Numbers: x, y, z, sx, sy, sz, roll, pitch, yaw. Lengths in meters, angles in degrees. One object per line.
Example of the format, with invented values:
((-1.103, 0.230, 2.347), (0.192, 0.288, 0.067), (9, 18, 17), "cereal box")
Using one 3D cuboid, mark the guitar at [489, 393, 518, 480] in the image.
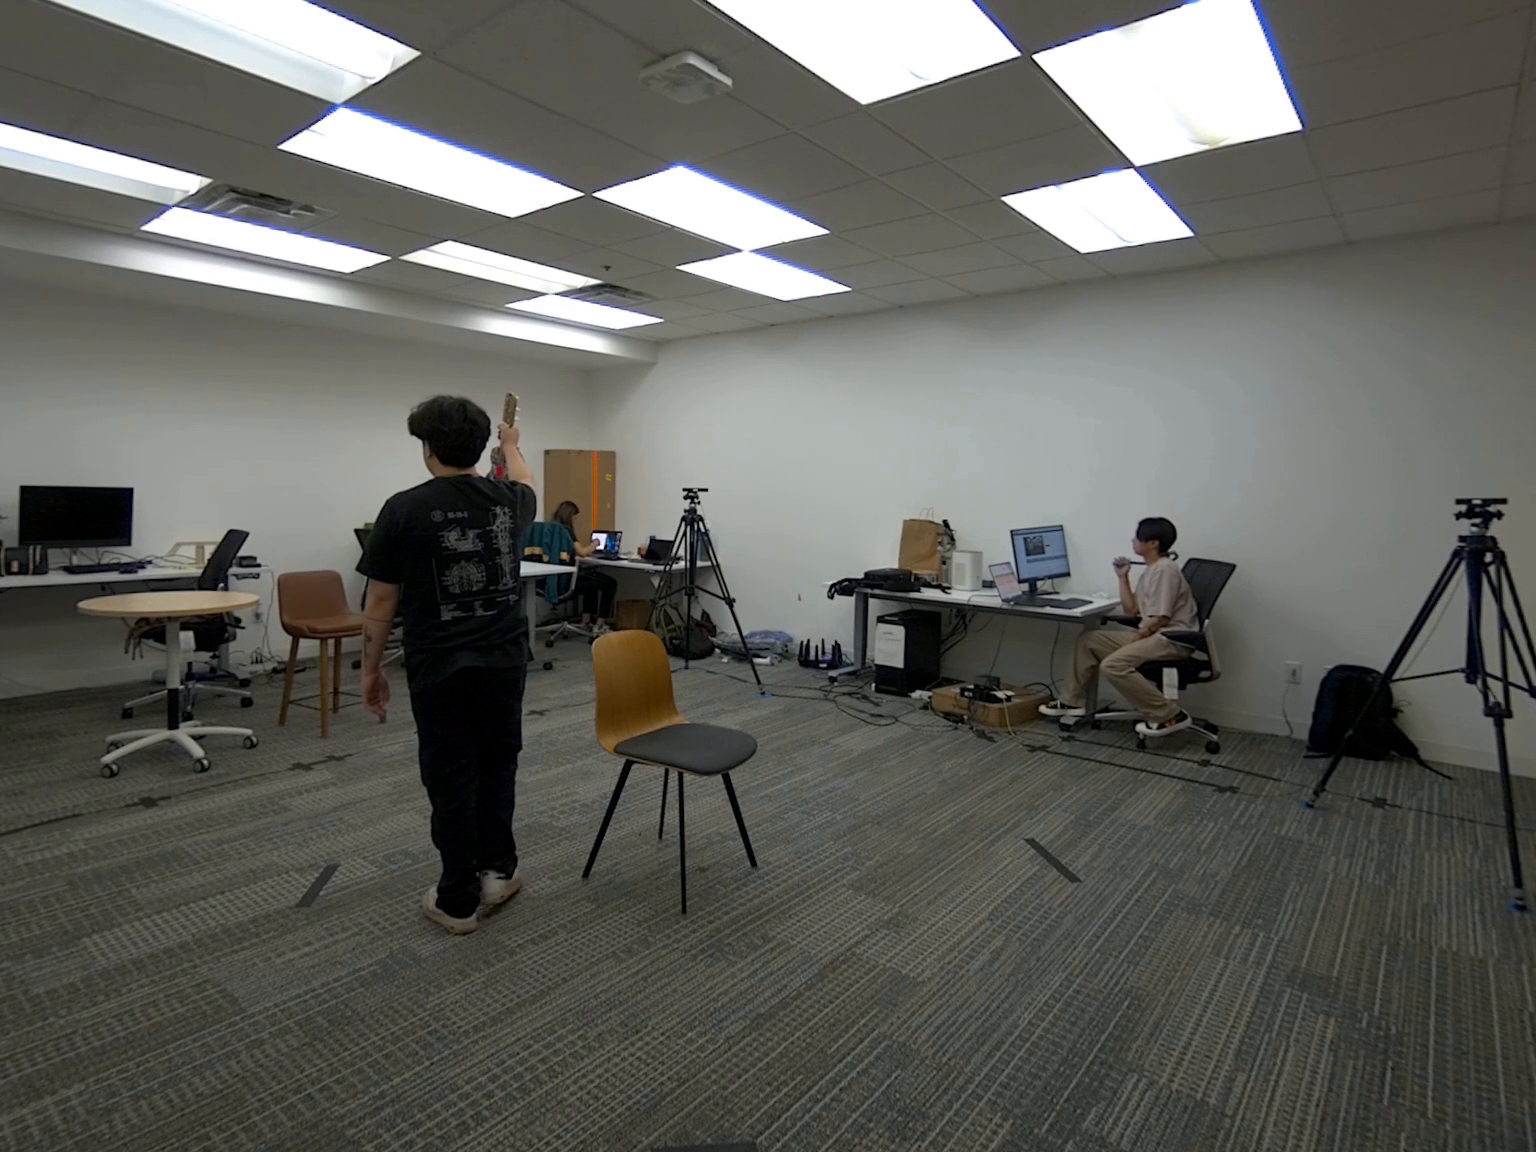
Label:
((-0.991, -0.454, 3.256), (0.199, 0.492, 0.069), (43, 35, 24), "guitar")
